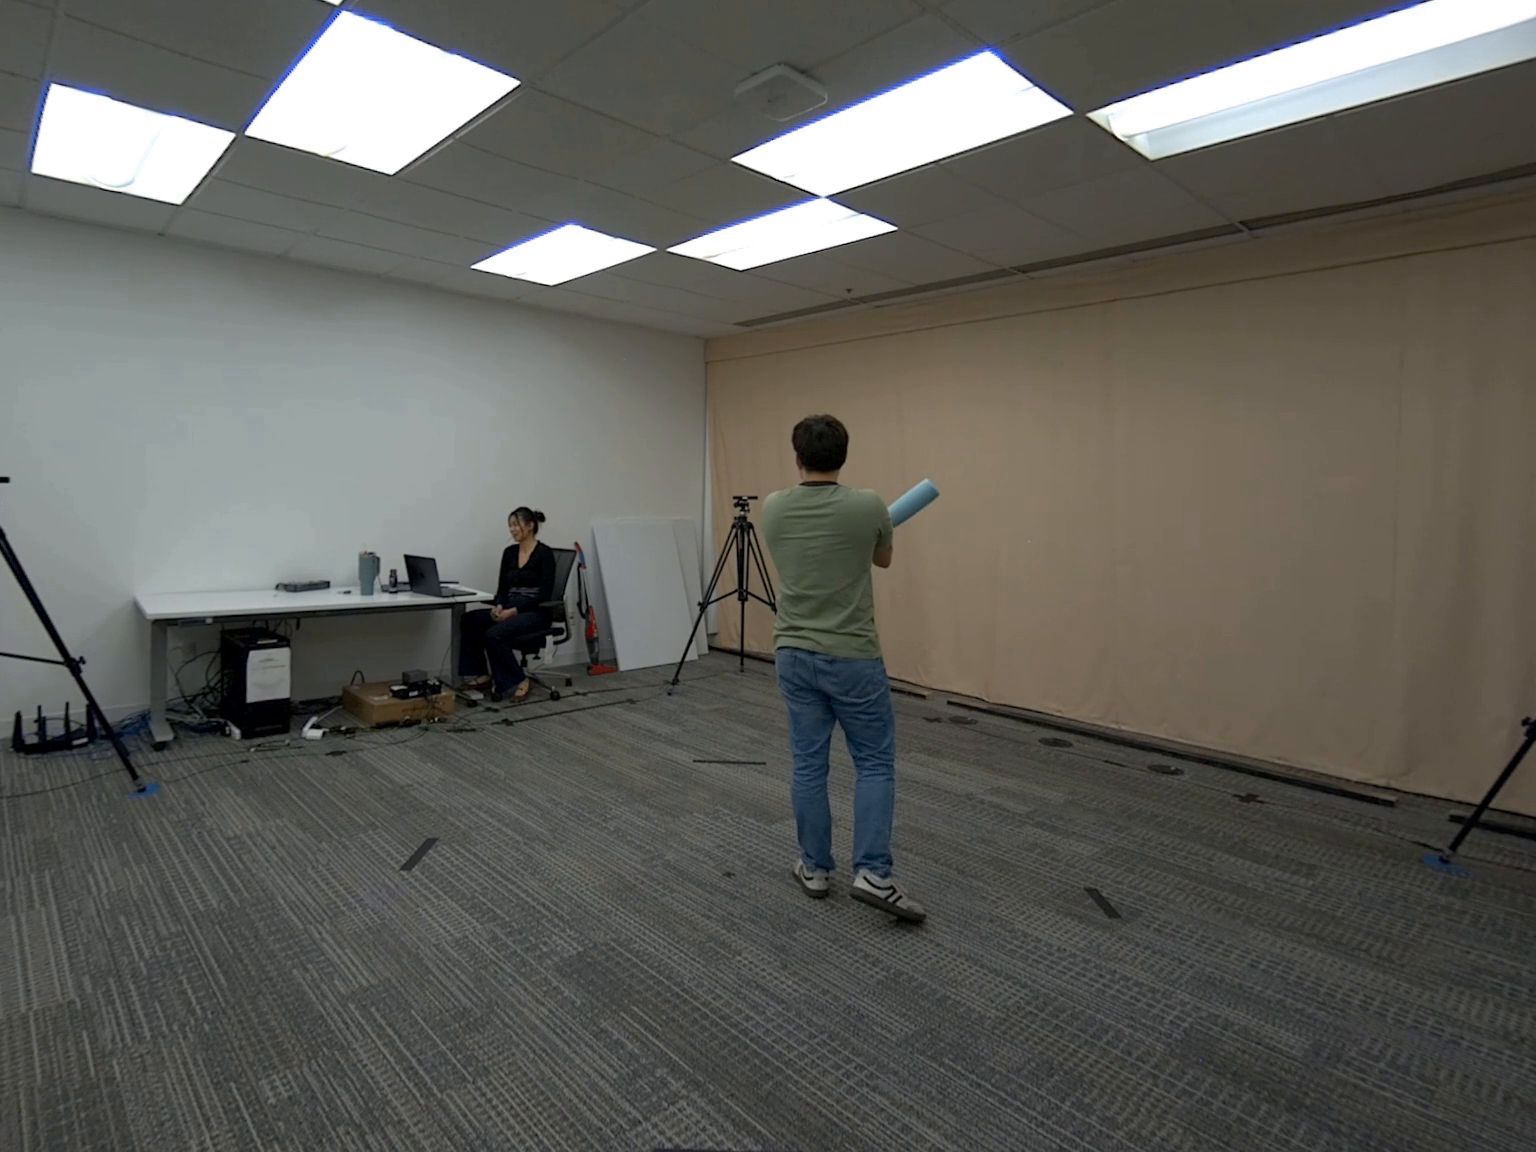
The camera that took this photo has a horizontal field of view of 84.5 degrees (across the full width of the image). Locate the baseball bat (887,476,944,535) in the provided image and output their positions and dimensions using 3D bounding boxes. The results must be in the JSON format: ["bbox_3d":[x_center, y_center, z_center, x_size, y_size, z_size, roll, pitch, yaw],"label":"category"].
[{"bbox_3d":[0.446,-0.192,3.375,0.544,0.090,0.088,-39,-9,17],"label":"baseball bat"}]
